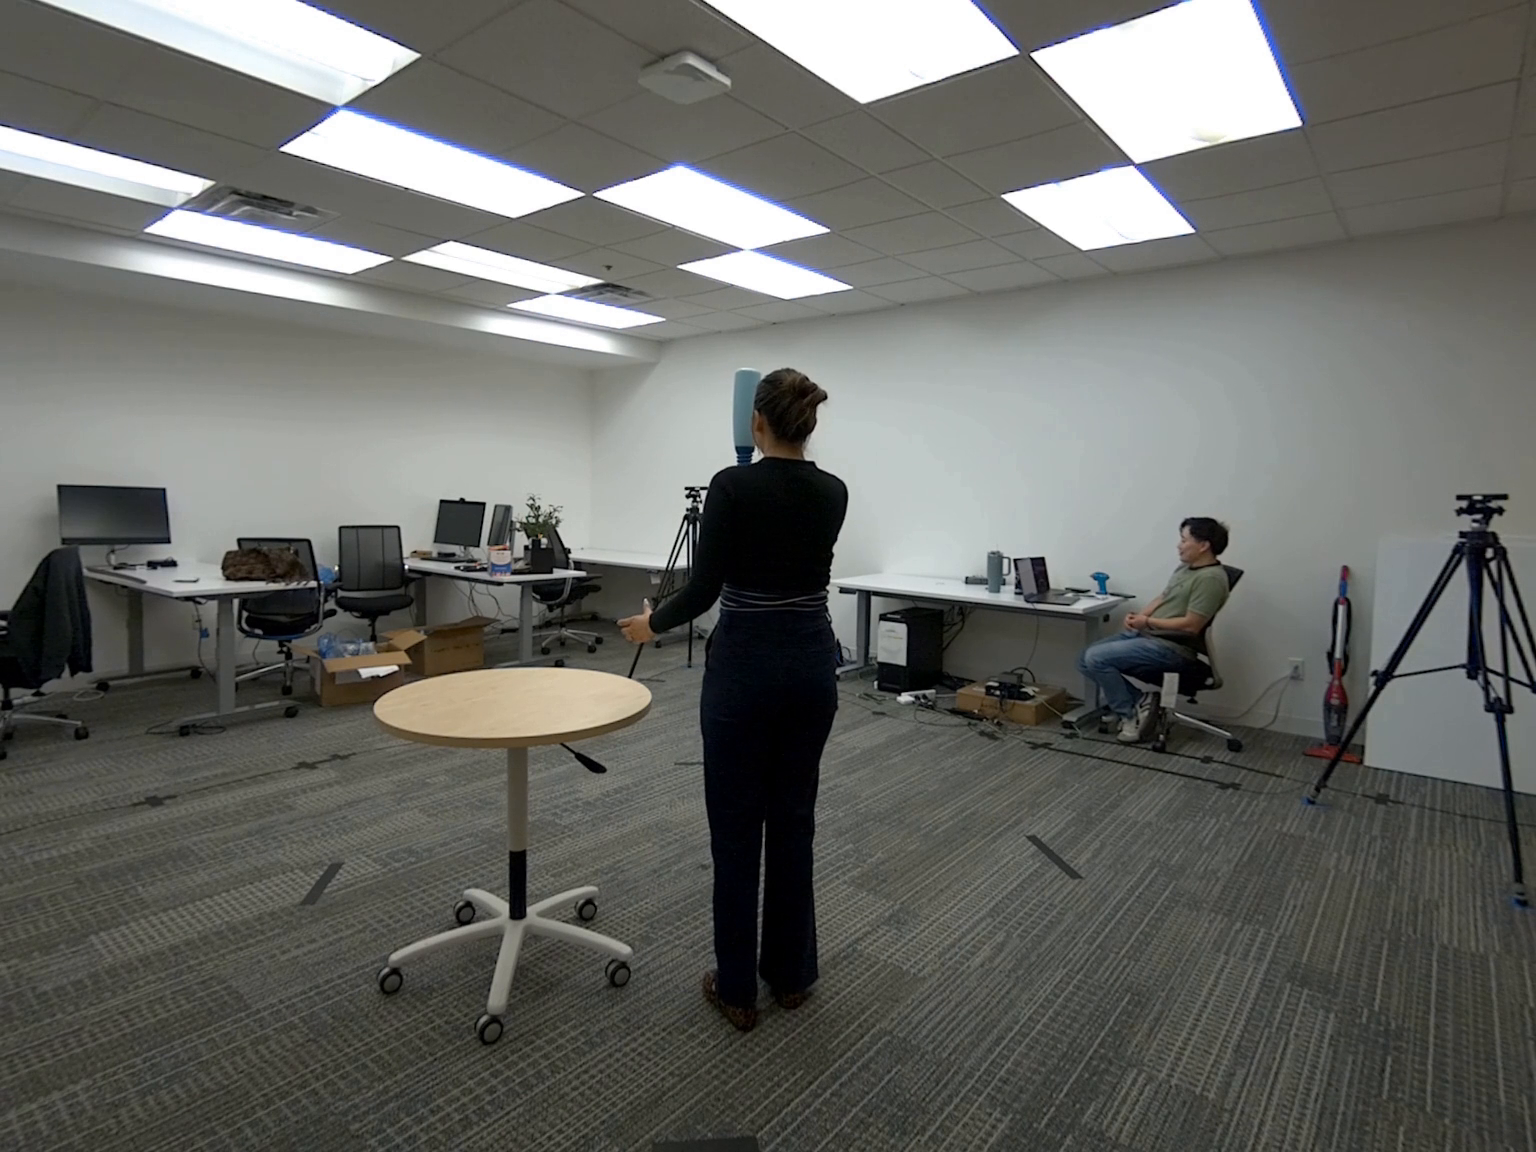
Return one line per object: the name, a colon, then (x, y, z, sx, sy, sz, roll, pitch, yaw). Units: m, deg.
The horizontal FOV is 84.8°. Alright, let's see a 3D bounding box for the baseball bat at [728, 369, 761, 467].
baseball bat: (-0.084, -0.400, 2.760, 0.089, 0.541, 0.089, 2, 3, -2)
